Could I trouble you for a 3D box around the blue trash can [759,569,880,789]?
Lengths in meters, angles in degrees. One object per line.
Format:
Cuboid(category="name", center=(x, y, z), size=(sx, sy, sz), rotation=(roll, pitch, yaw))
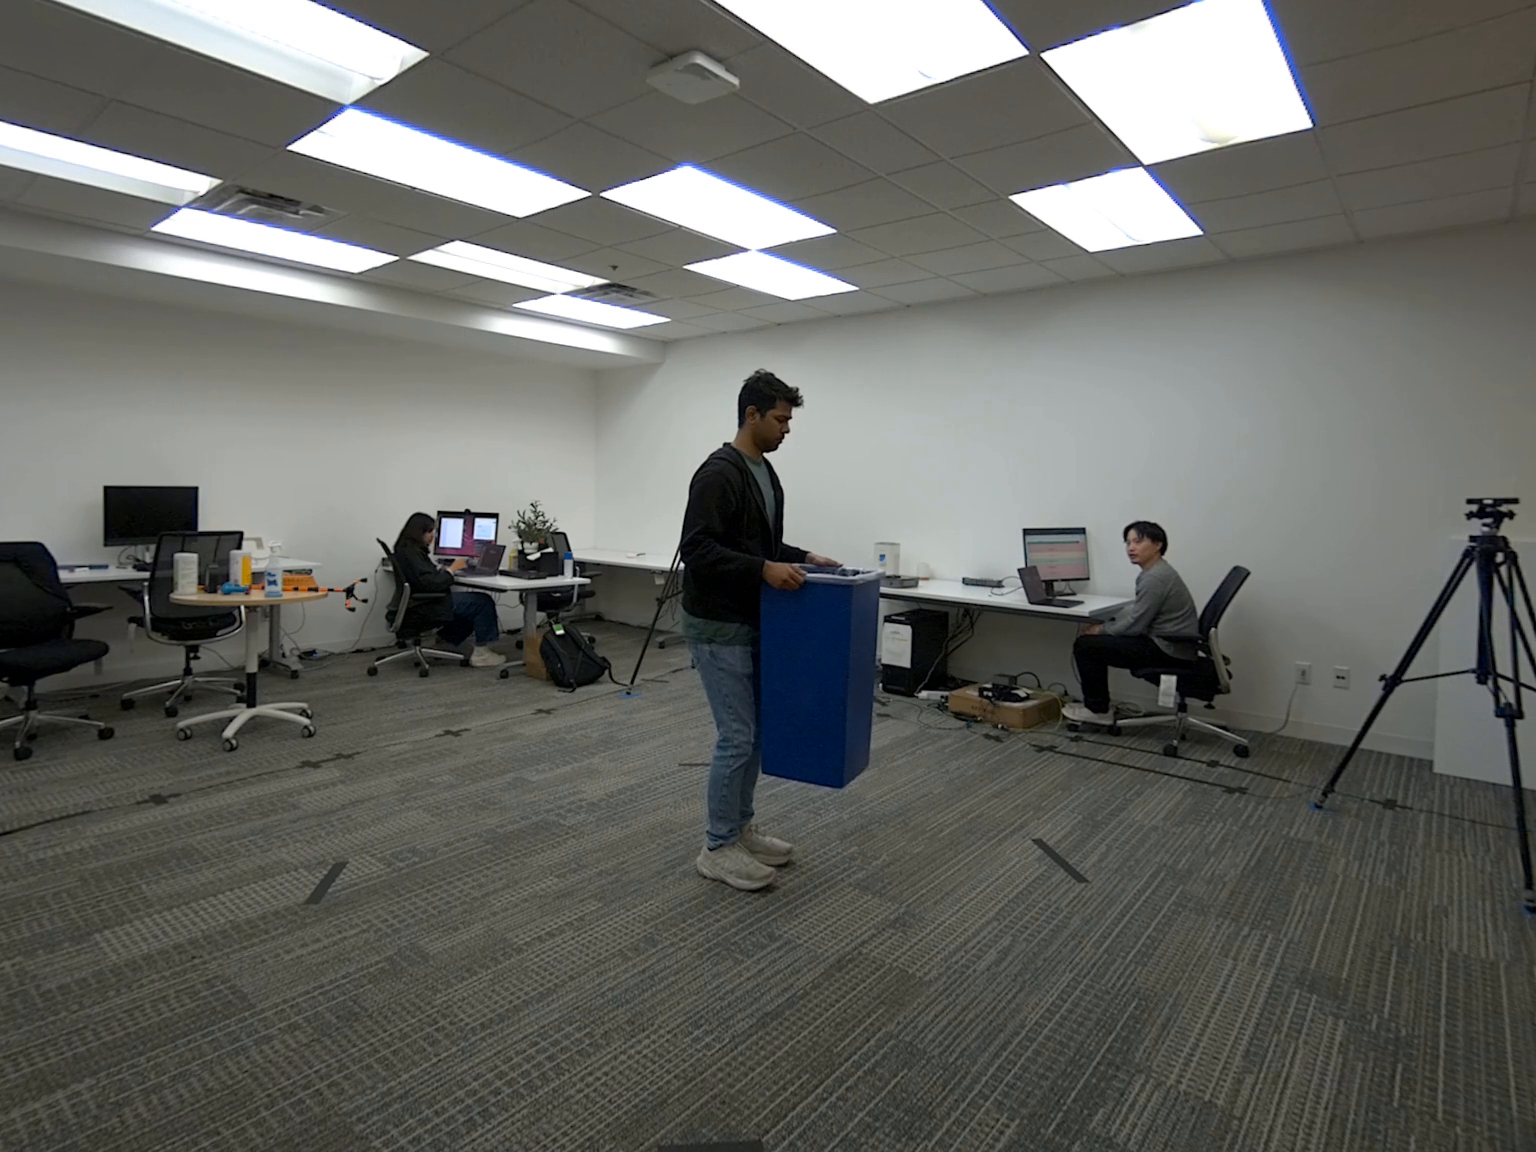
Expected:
Cuboid(category="blue trash can", center=(0.175, 0.336, 2.998), size=(0.388, 0.712, 0.365), rotation=(3, 3, 26))
